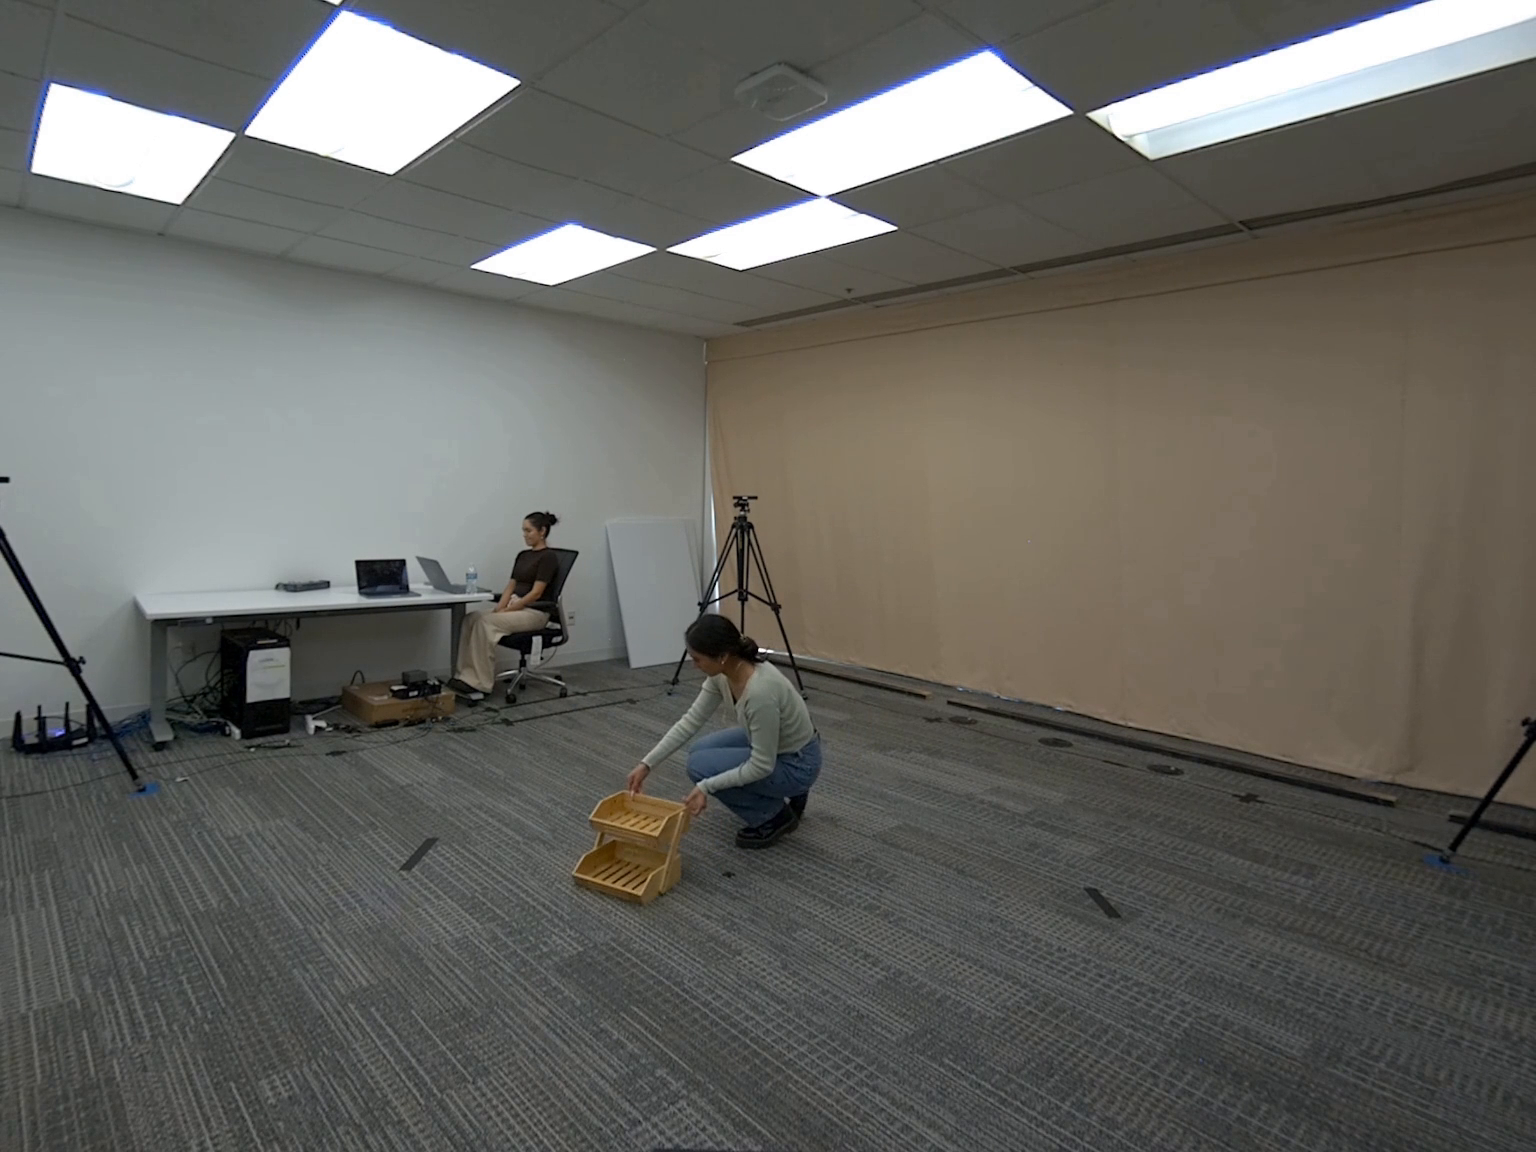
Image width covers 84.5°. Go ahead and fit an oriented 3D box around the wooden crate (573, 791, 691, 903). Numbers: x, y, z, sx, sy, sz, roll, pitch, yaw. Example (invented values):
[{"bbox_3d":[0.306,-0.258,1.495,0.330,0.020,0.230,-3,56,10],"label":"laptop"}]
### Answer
[{"bbox_3d":[-0.502,0.970,3.027,0.331,0.273,0.296,4,4,28],"label":"wooden crate"}]
